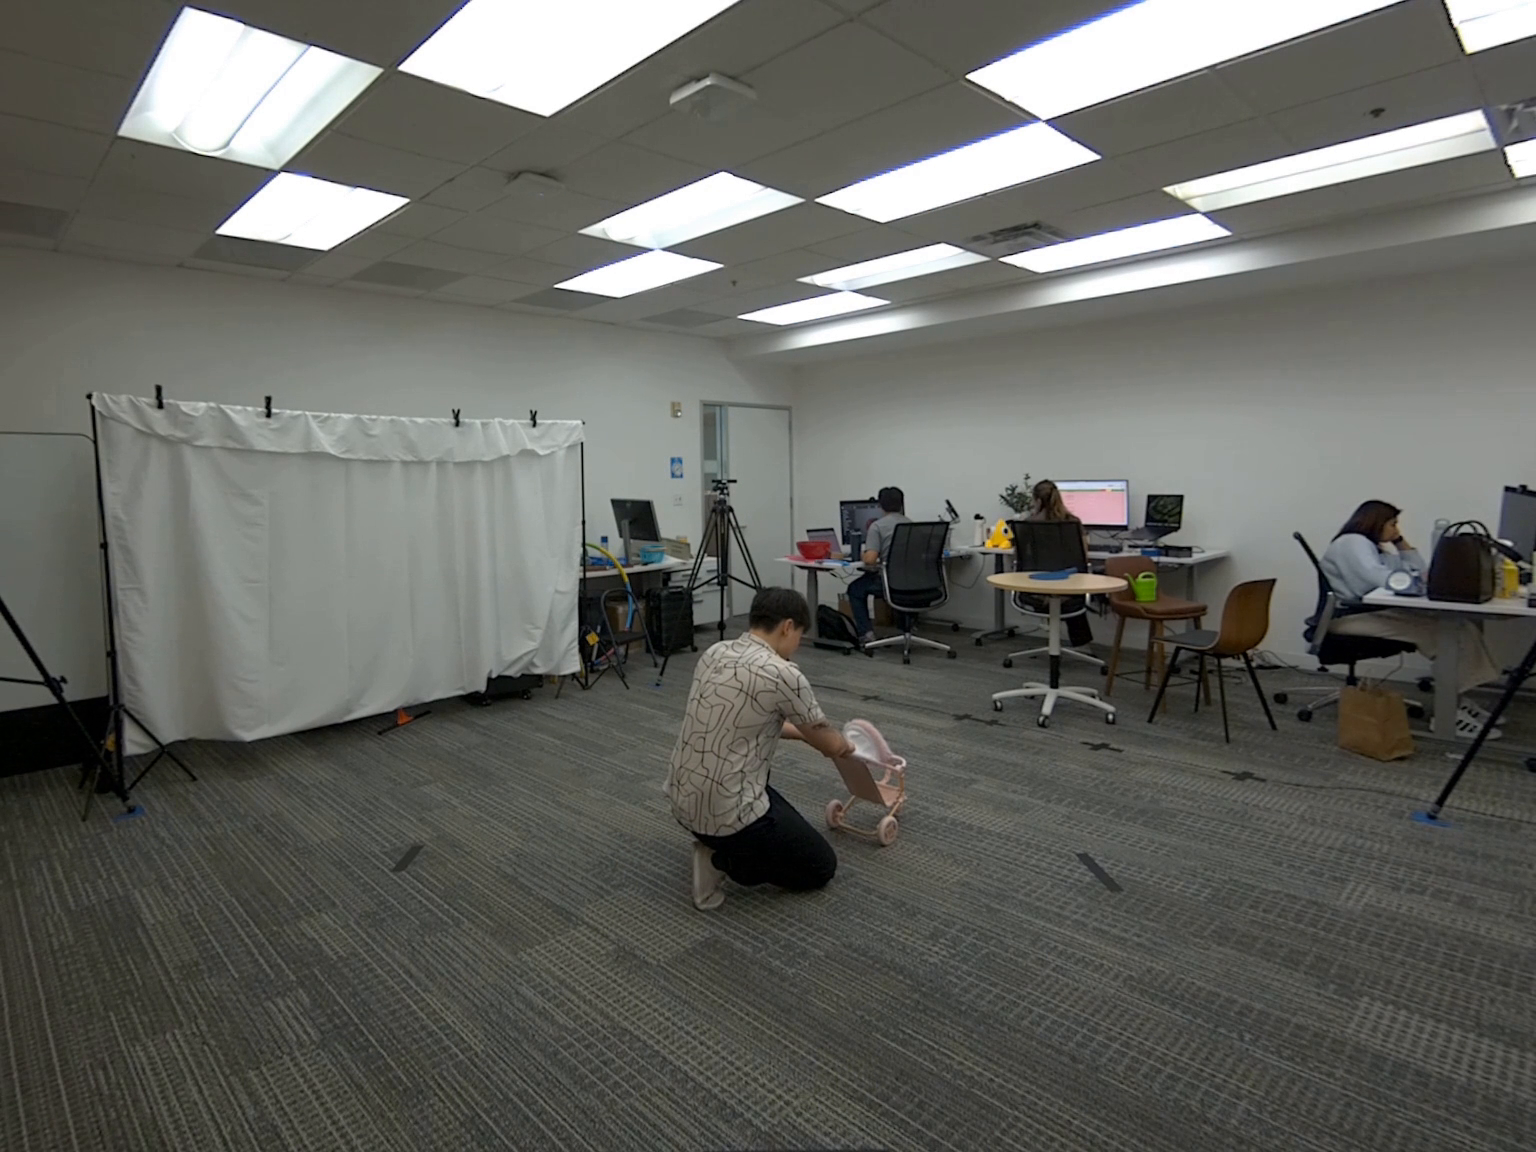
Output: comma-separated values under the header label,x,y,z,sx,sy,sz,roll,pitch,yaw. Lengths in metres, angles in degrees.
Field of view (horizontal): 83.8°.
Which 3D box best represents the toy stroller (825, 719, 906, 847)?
label,x,y,z,sx,sy,sz,roll,pitch,yaw
toy stroller,0.392,0.787,3.359,0.290,0.524,0.337,6,28,46
